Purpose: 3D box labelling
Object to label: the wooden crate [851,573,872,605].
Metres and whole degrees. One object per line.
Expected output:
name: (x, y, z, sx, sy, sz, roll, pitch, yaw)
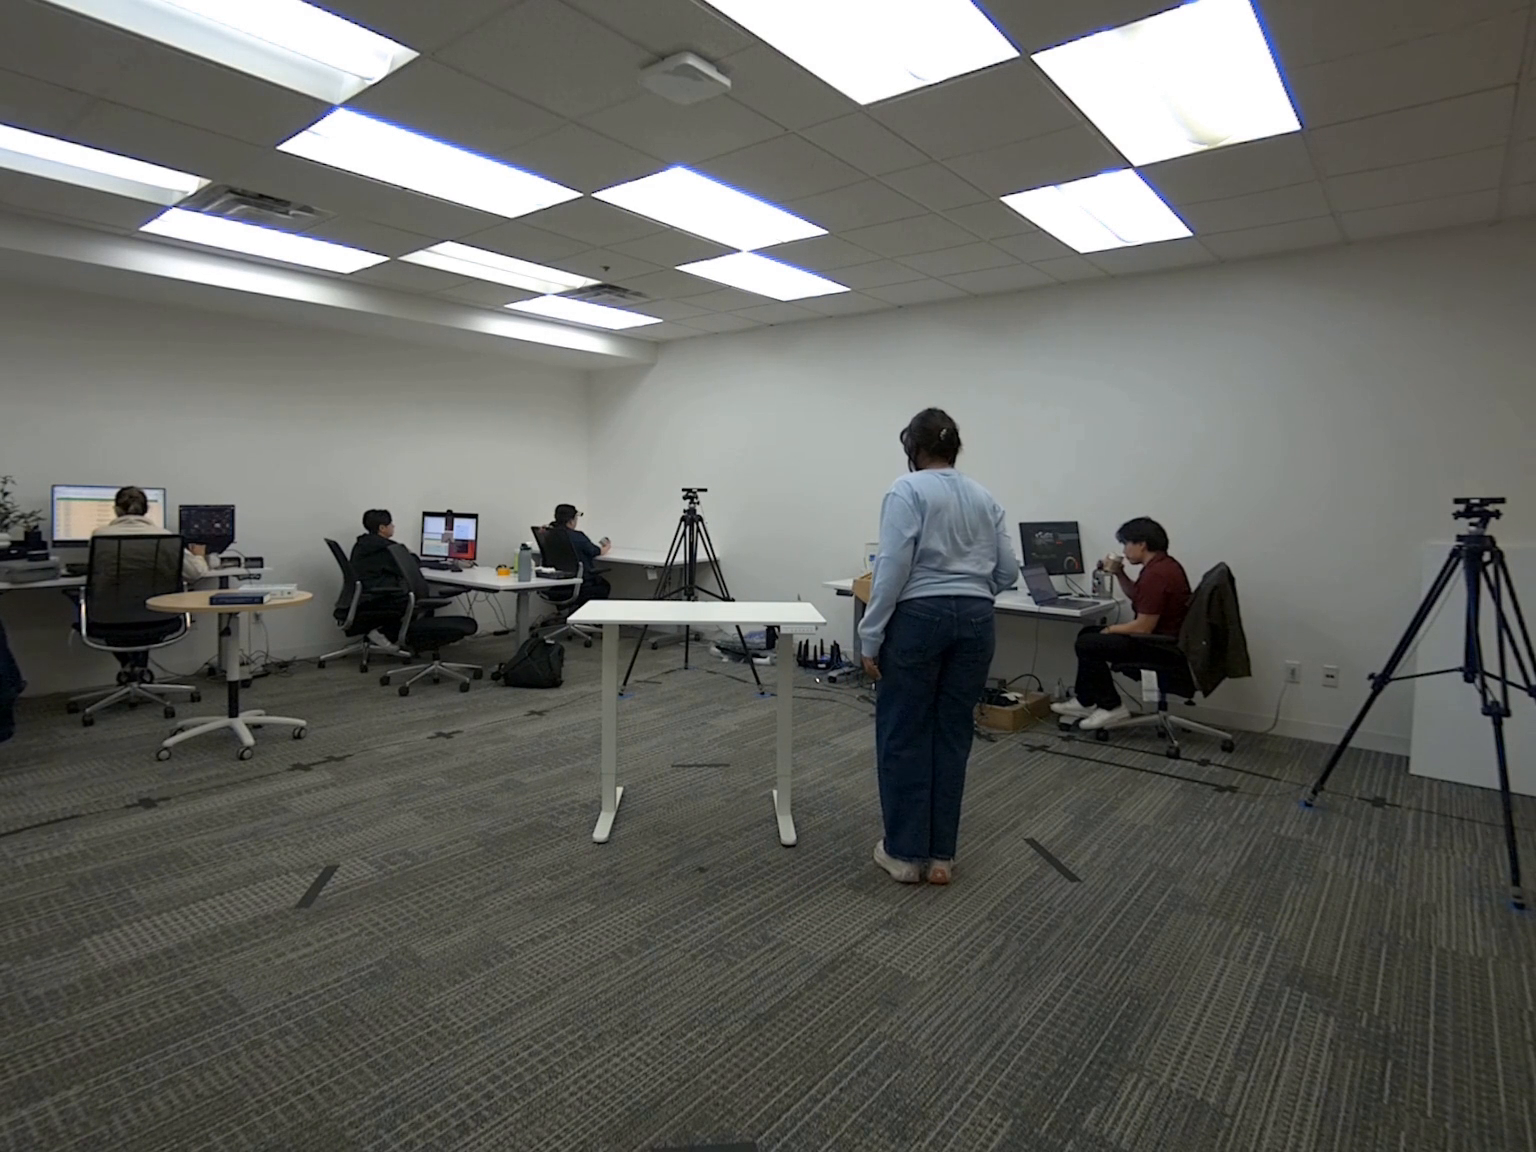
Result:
wooden crate: (0.561, 0.014, 3.472, 0.310, 0.272, 0.318, 41, 25, 16)
